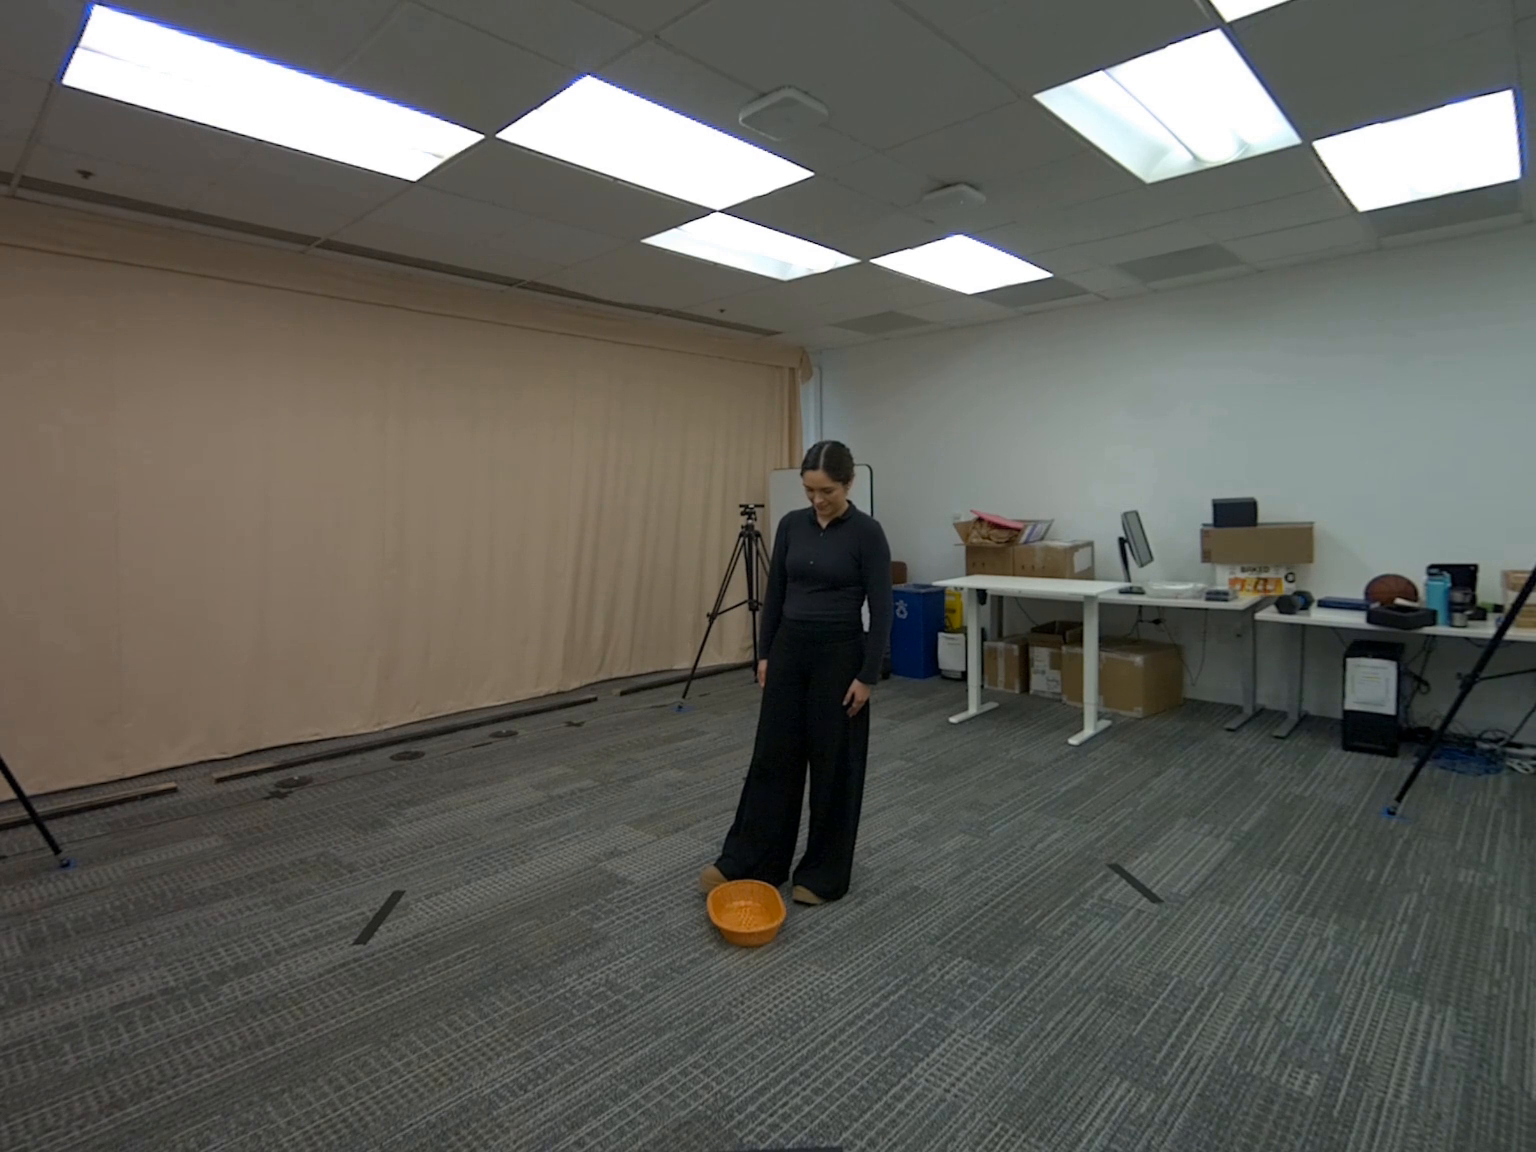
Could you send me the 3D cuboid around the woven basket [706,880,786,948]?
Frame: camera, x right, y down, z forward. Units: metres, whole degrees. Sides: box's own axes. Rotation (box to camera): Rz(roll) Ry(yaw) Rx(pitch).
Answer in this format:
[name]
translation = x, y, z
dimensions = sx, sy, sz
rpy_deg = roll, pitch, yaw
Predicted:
[woven basket]
translation = -0.080, 1.115, 2.790
dimensions = 0.251, 0.073, 0.354
rpy_deg = -4, 6, -7
